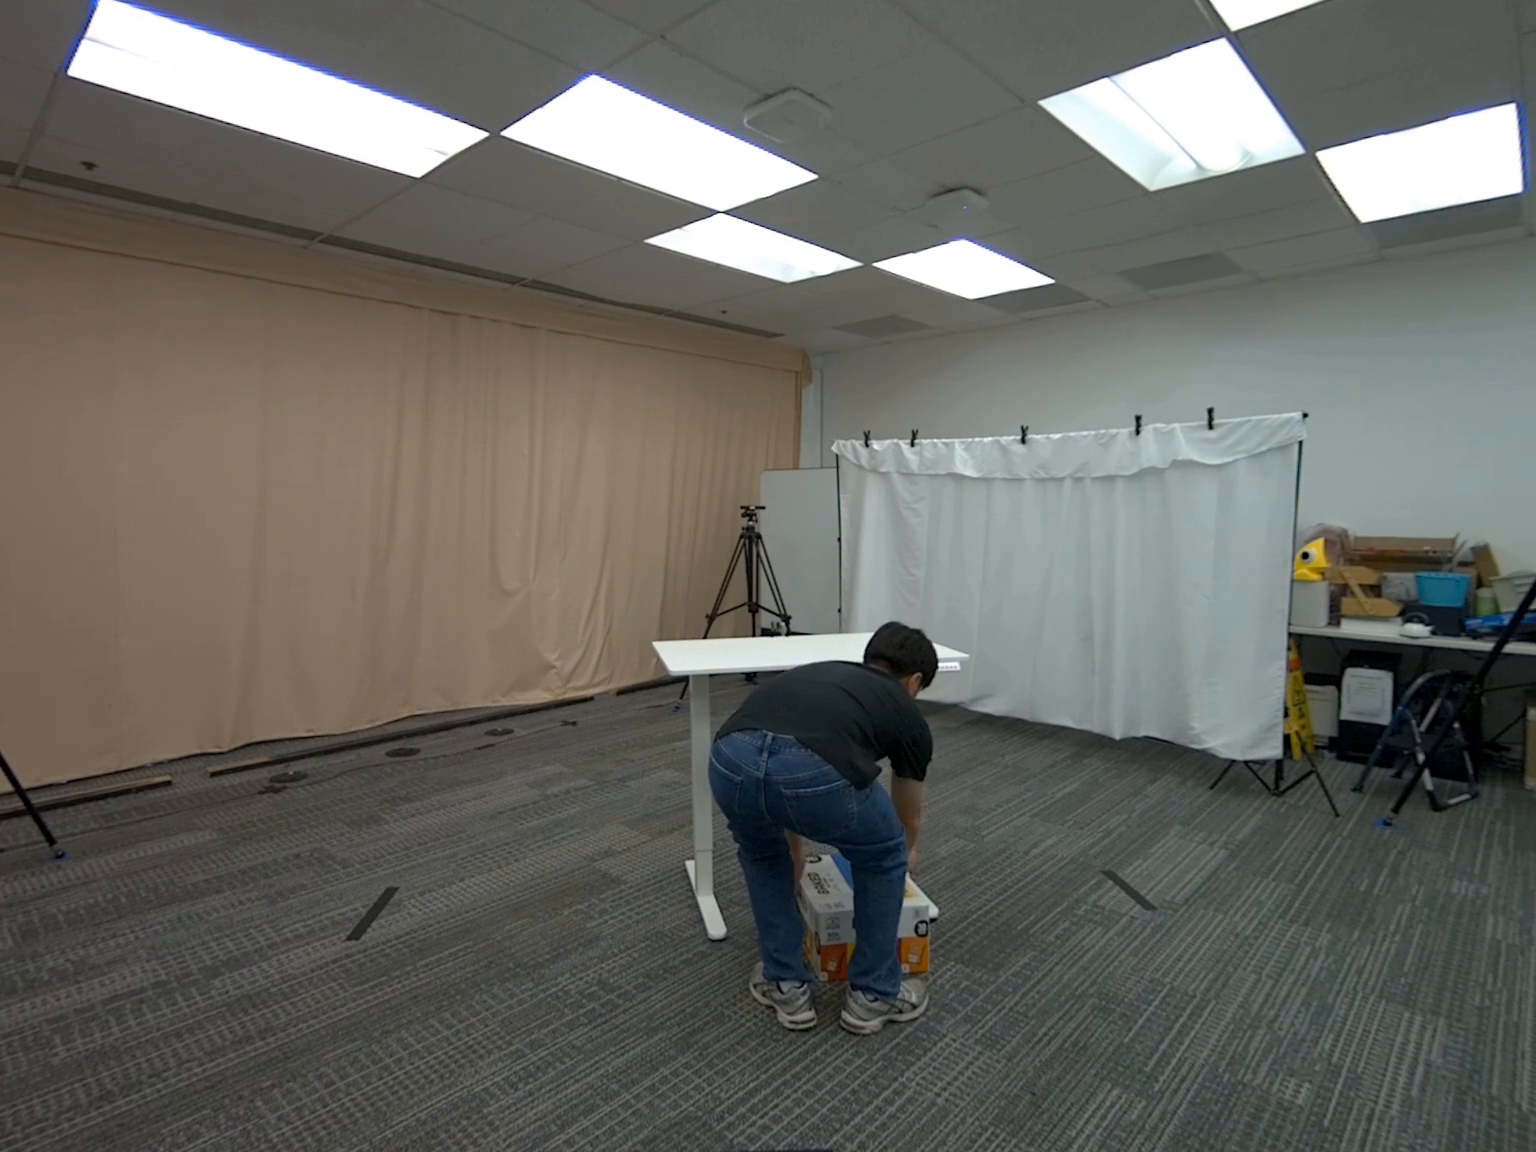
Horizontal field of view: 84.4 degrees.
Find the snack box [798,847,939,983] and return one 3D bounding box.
[{"bbox_3d":[0.276,1.069,2.675,0.337,0.205,0.410,-1,5,-11],"label":"snack box"}]
